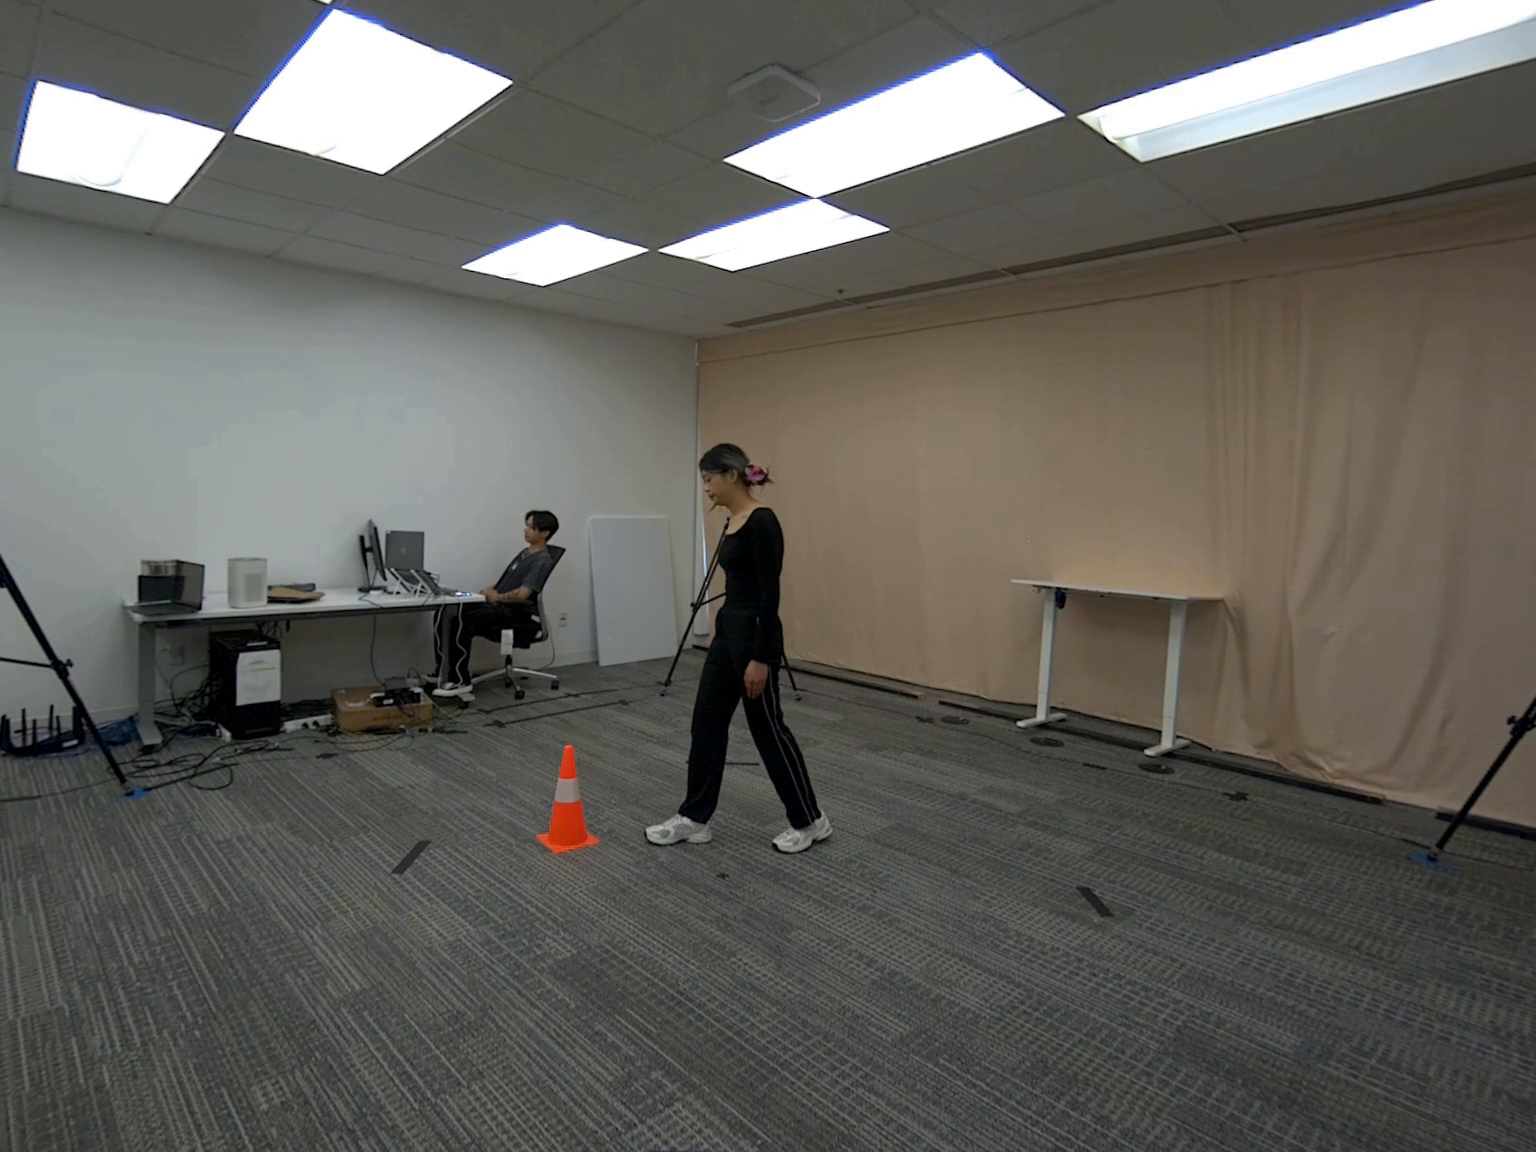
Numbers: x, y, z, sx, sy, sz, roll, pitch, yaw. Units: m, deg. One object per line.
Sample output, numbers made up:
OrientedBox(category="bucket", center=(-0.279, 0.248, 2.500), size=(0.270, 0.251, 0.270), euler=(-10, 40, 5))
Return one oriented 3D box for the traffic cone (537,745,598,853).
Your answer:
OrientedBox(category="traffic cone", center=(-0.812, 0.878, 3.396), size=(0.200, 0.383, 0.208), euler=(-1, 5, -44))
